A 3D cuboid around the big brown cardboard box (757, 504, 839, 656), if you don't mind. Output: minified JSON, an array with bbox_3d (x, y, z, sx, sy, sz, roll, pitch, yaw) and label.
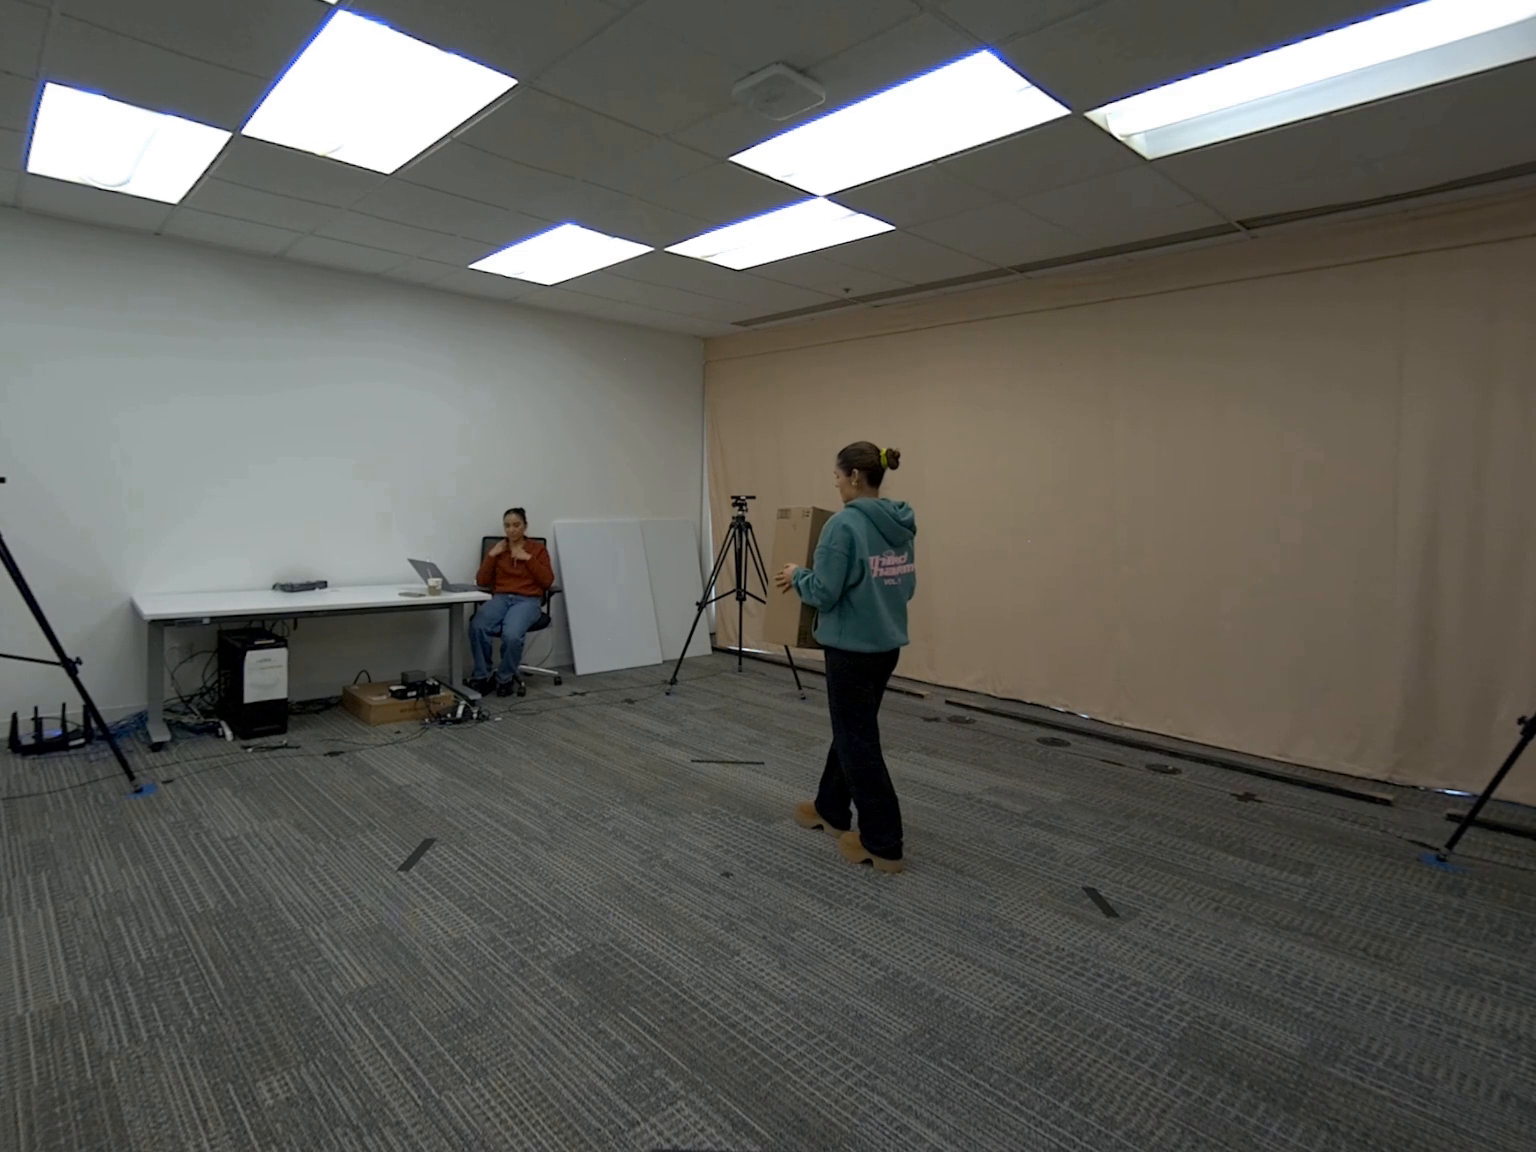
[{"bbox_3d":[0.222,0.025,3.552,0.407,0.590,0.239,9,-5,-39],"label":"big brown cardboard box"}]
